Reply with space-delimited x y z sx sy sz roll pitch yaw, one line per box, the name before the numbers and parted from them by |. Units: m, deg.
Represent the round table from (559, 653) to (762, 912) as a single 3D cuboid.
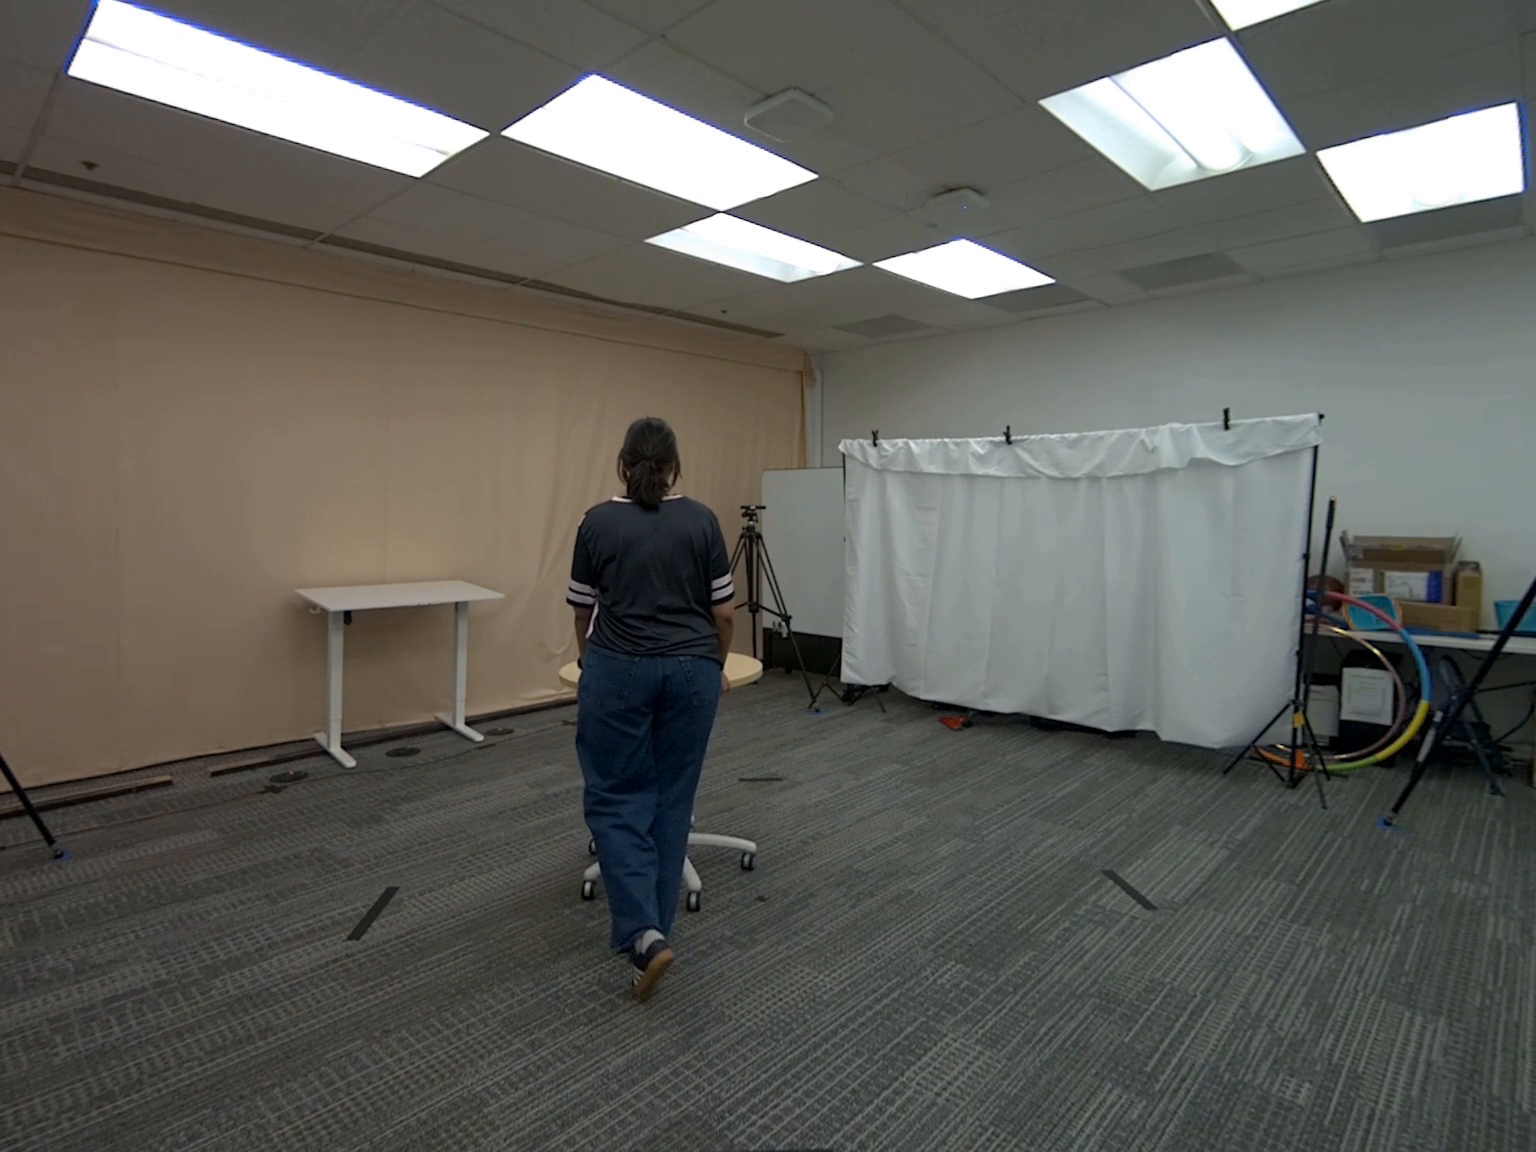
round table | -0.394 0.738 3.209 0.763 0.792 0.766 -1 4 -2
